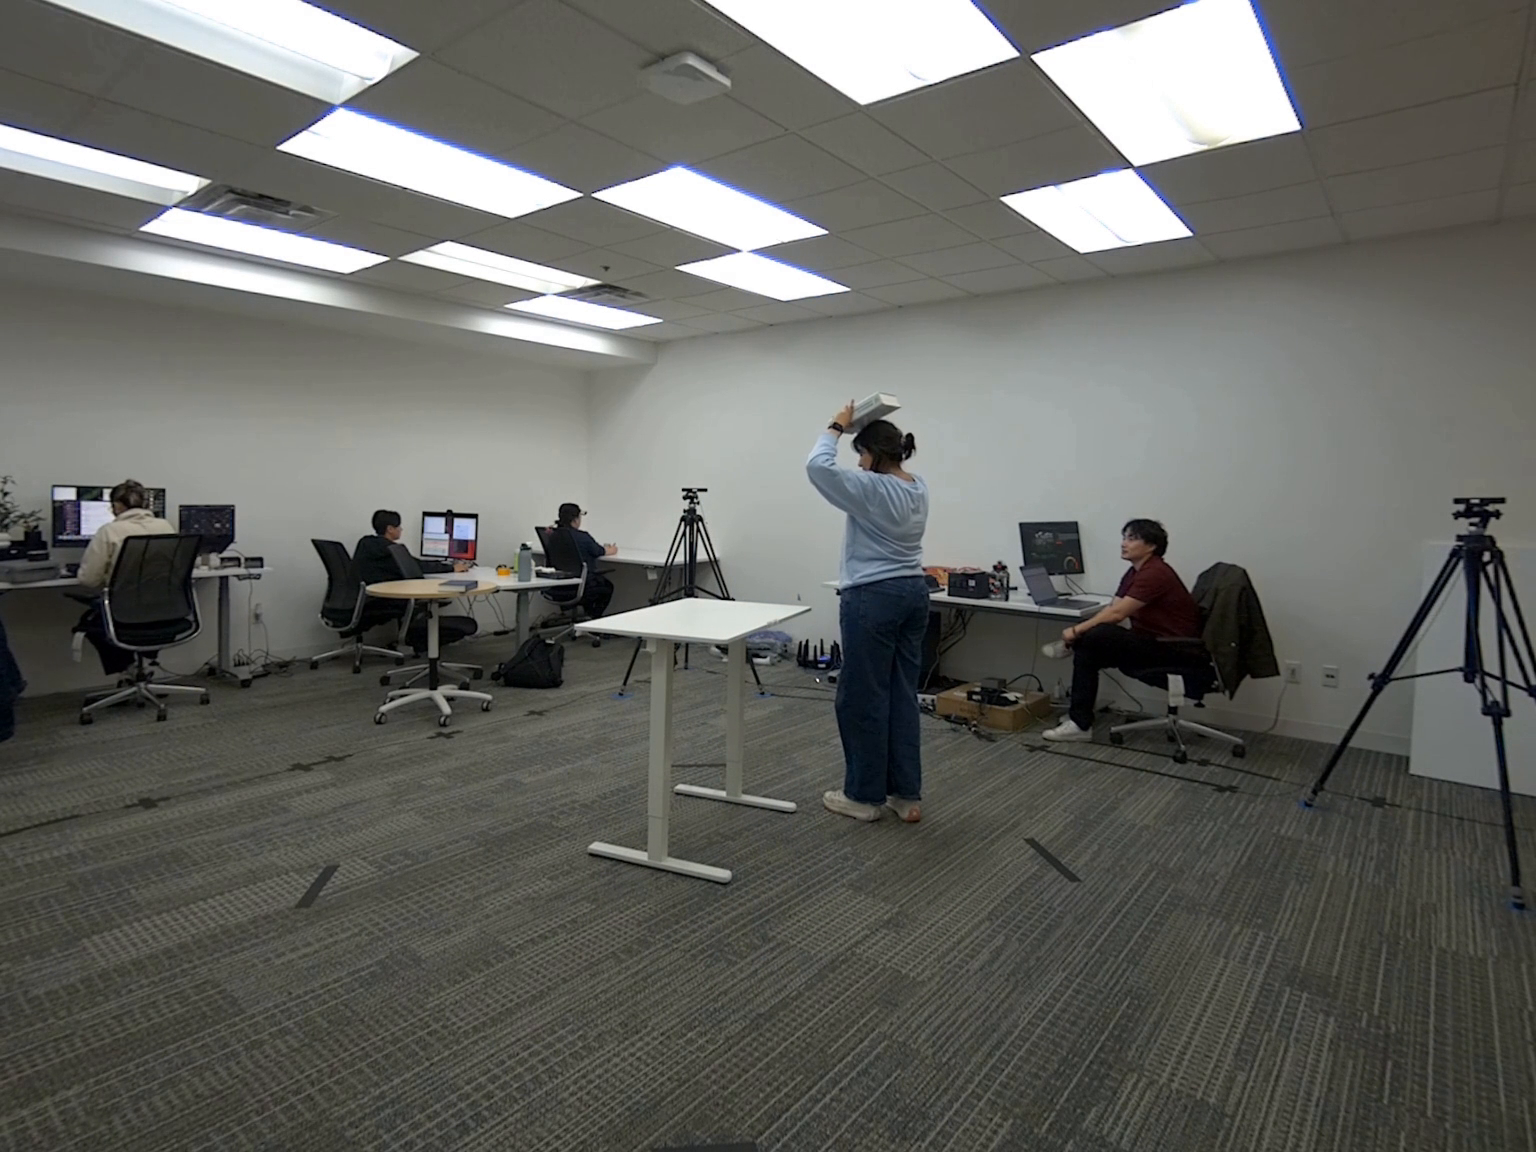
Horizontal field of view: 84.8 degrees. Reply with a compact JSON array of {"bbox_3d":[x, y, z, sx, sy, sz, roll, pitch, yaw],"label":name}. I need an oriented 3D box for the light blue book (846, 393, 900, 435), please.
[{"bbox_3d":[0.416,-0.710,3.697,0.264,0.060,0.186,-26,-9,33],"label":"light blue book"}]
